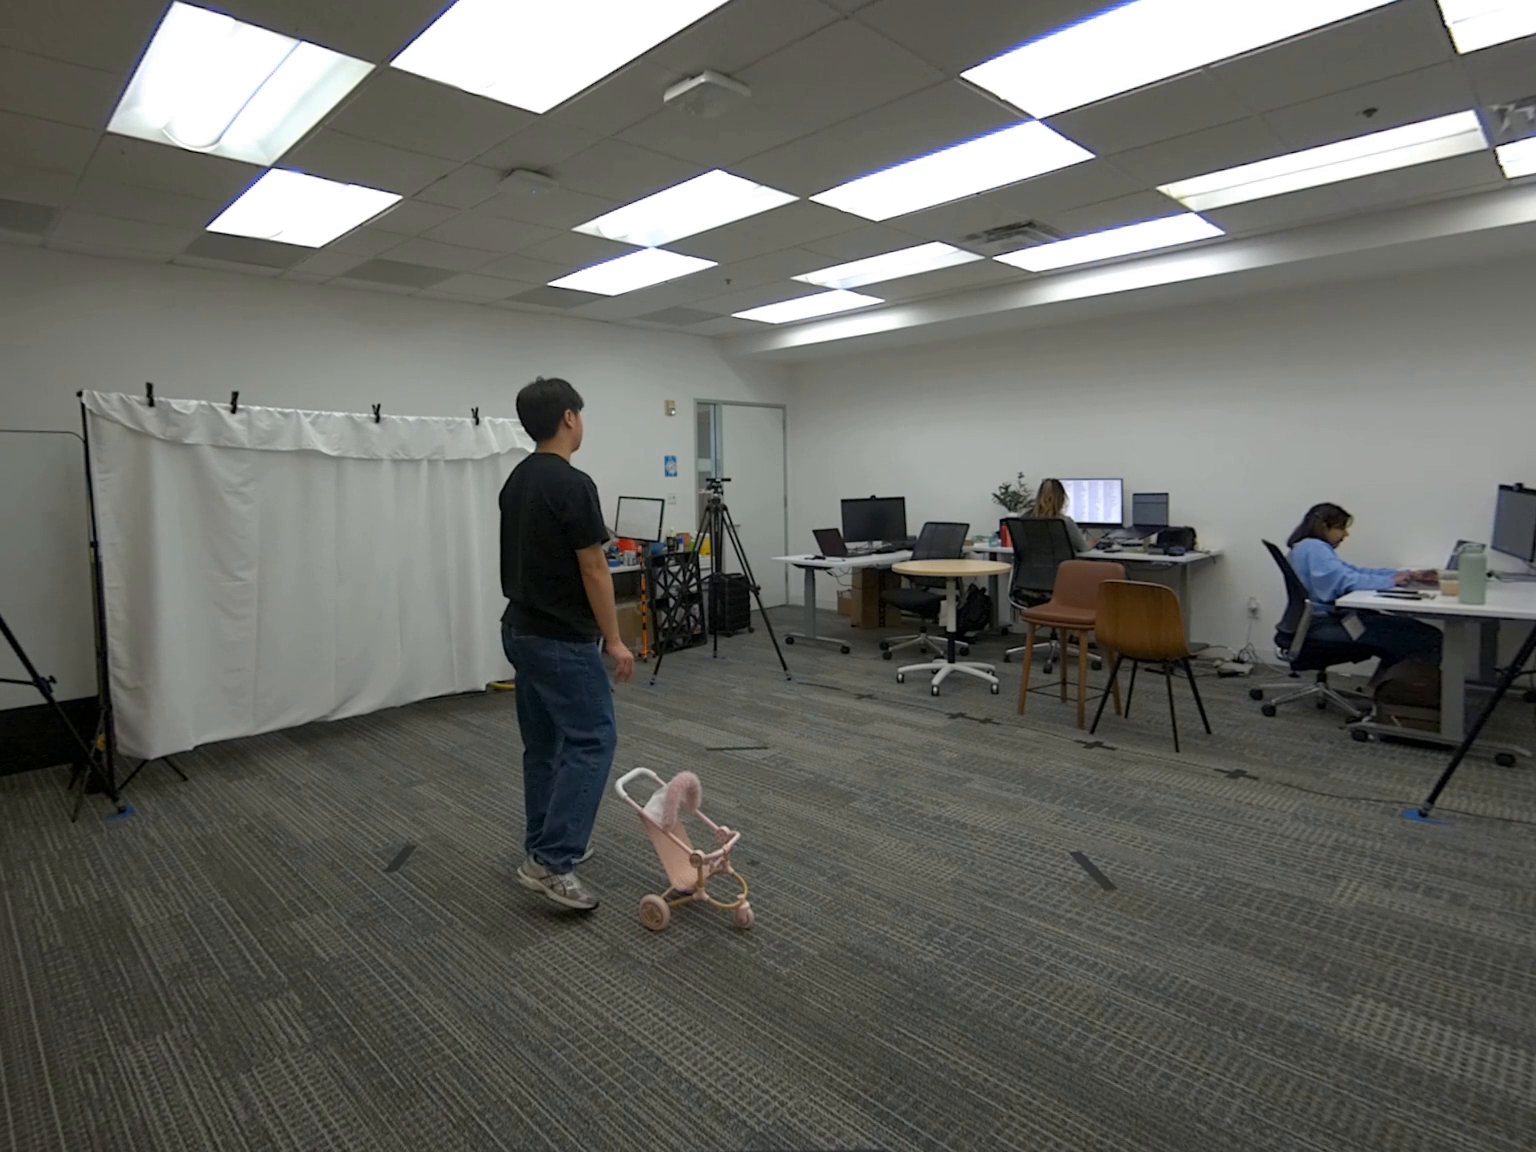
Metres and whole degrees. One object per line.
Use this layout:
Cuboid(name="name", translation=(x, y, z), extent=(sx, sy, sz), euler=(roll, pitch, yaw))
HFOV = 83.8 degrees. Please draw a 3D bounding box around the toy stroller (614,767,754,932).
Cuboid(name="toy stroller", translation=(-0.249, 0.866, 2.725), extent=(0.347, 0.537, 0.276), euler=(-17, -3, 29))
